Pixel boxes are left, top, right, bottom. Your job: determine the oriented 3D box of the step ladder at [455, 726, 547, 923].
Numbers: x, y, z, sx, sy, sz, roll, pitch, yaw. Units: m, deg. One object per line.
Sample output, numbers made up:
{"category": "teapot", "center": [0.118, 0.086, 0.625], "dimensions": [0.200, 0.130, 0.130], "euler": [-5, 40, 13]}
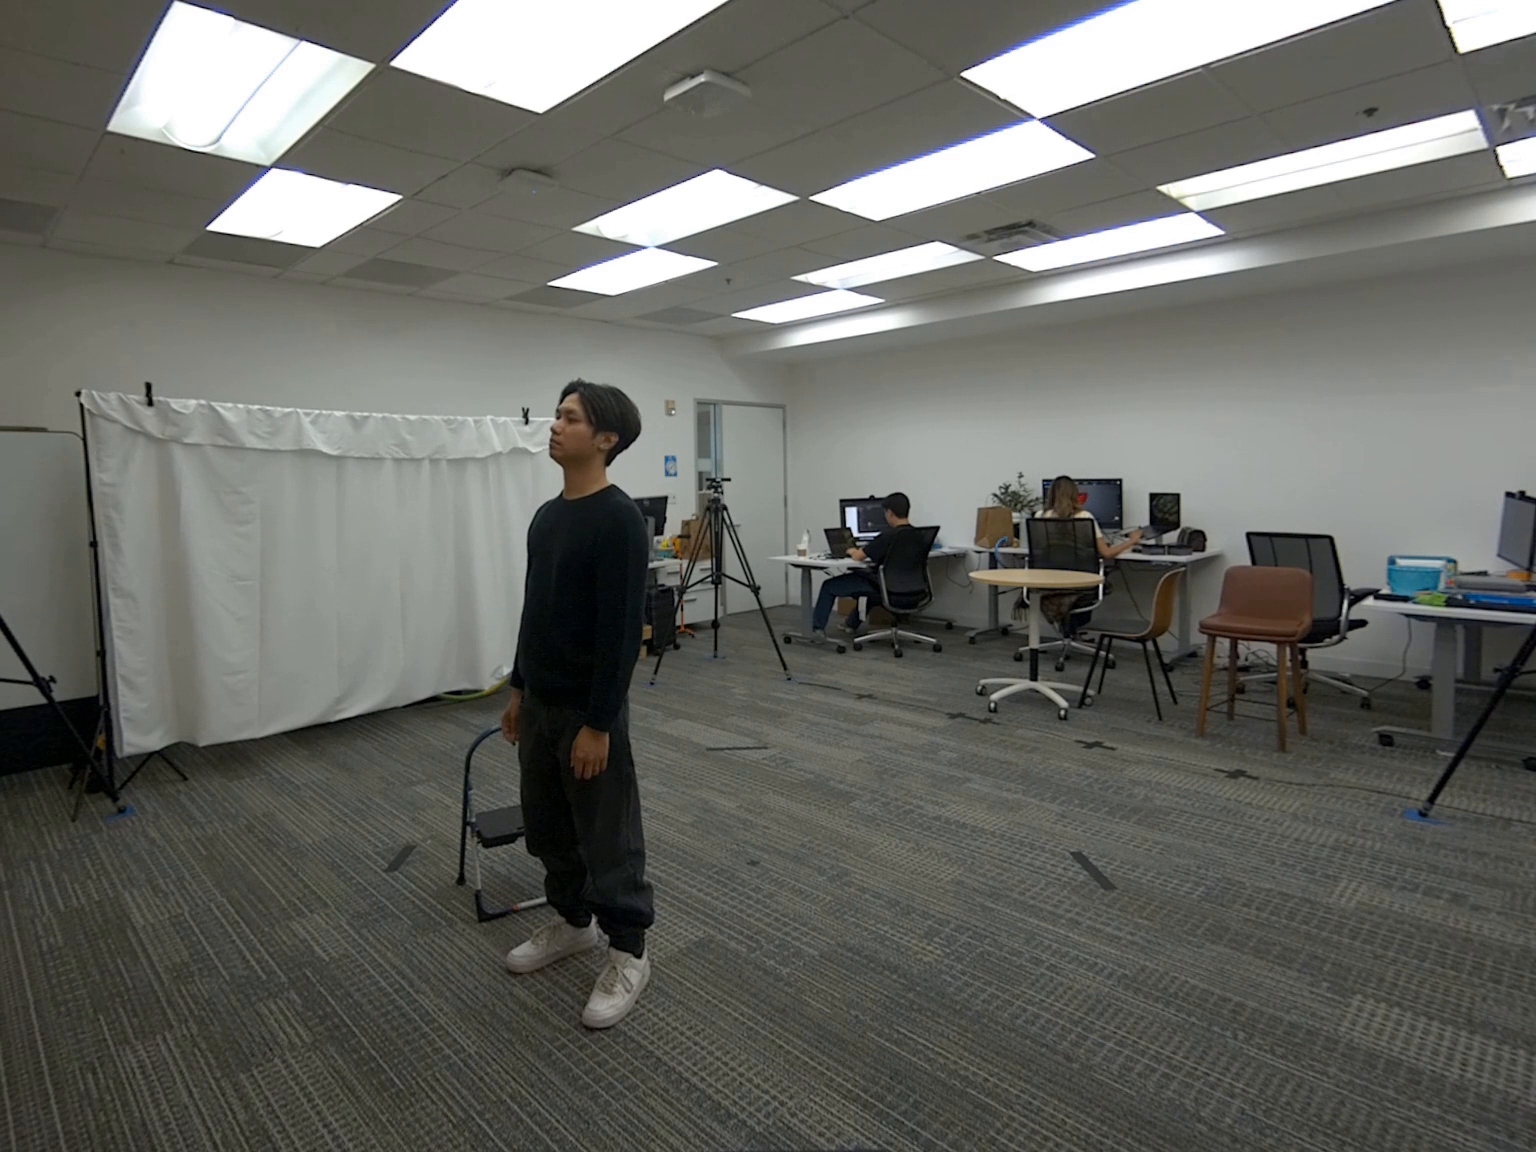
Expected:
{"category": "step ladder", "center": [-0.832, 0.772, 2.939], "dimensions": [0.421, 0.603, 0.359], "euler": [-4, 6, -30]}
